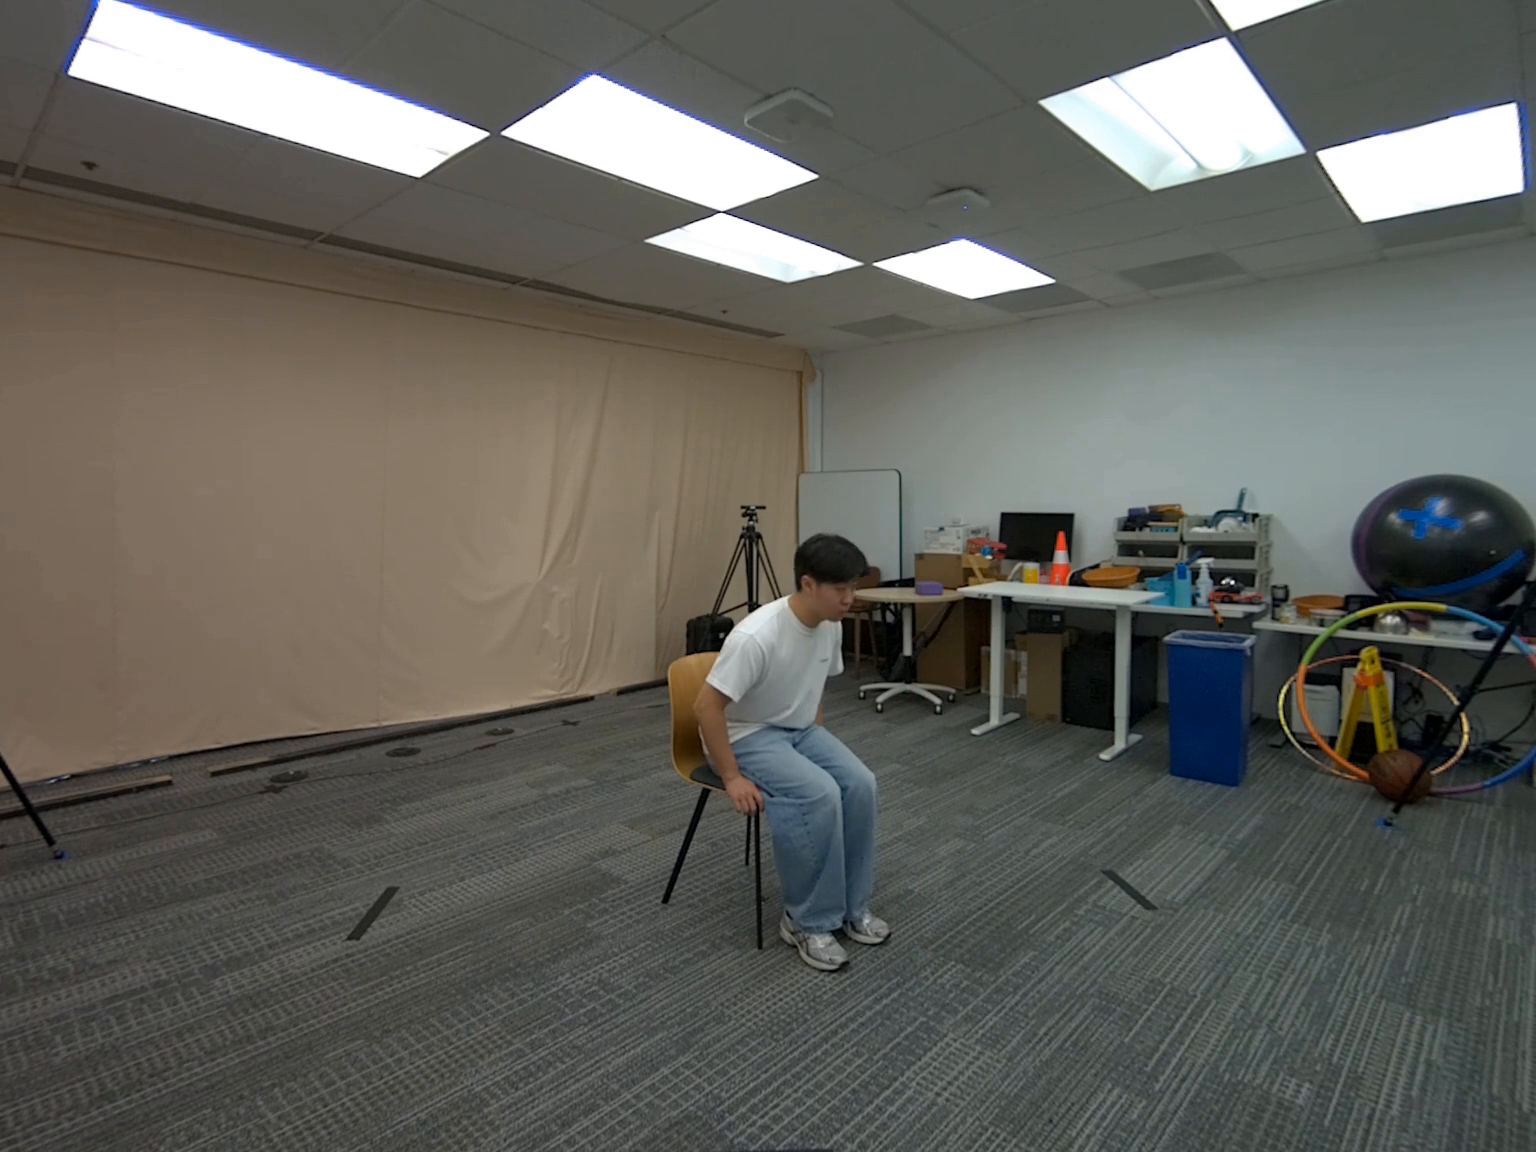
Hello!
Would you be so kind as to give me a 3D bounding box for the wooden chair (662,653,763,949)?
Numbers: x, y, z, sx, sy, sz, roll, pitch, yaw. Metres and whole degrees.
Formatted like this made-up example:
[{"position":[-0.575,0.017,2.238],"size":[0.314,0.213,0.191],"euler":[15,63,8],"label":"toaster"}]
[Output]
[{"position":[-0.046,0.722,2.926],"size":[0.539,0.877,0.463],"euler":[-2,1,42],"label":"wooden chair"}]
